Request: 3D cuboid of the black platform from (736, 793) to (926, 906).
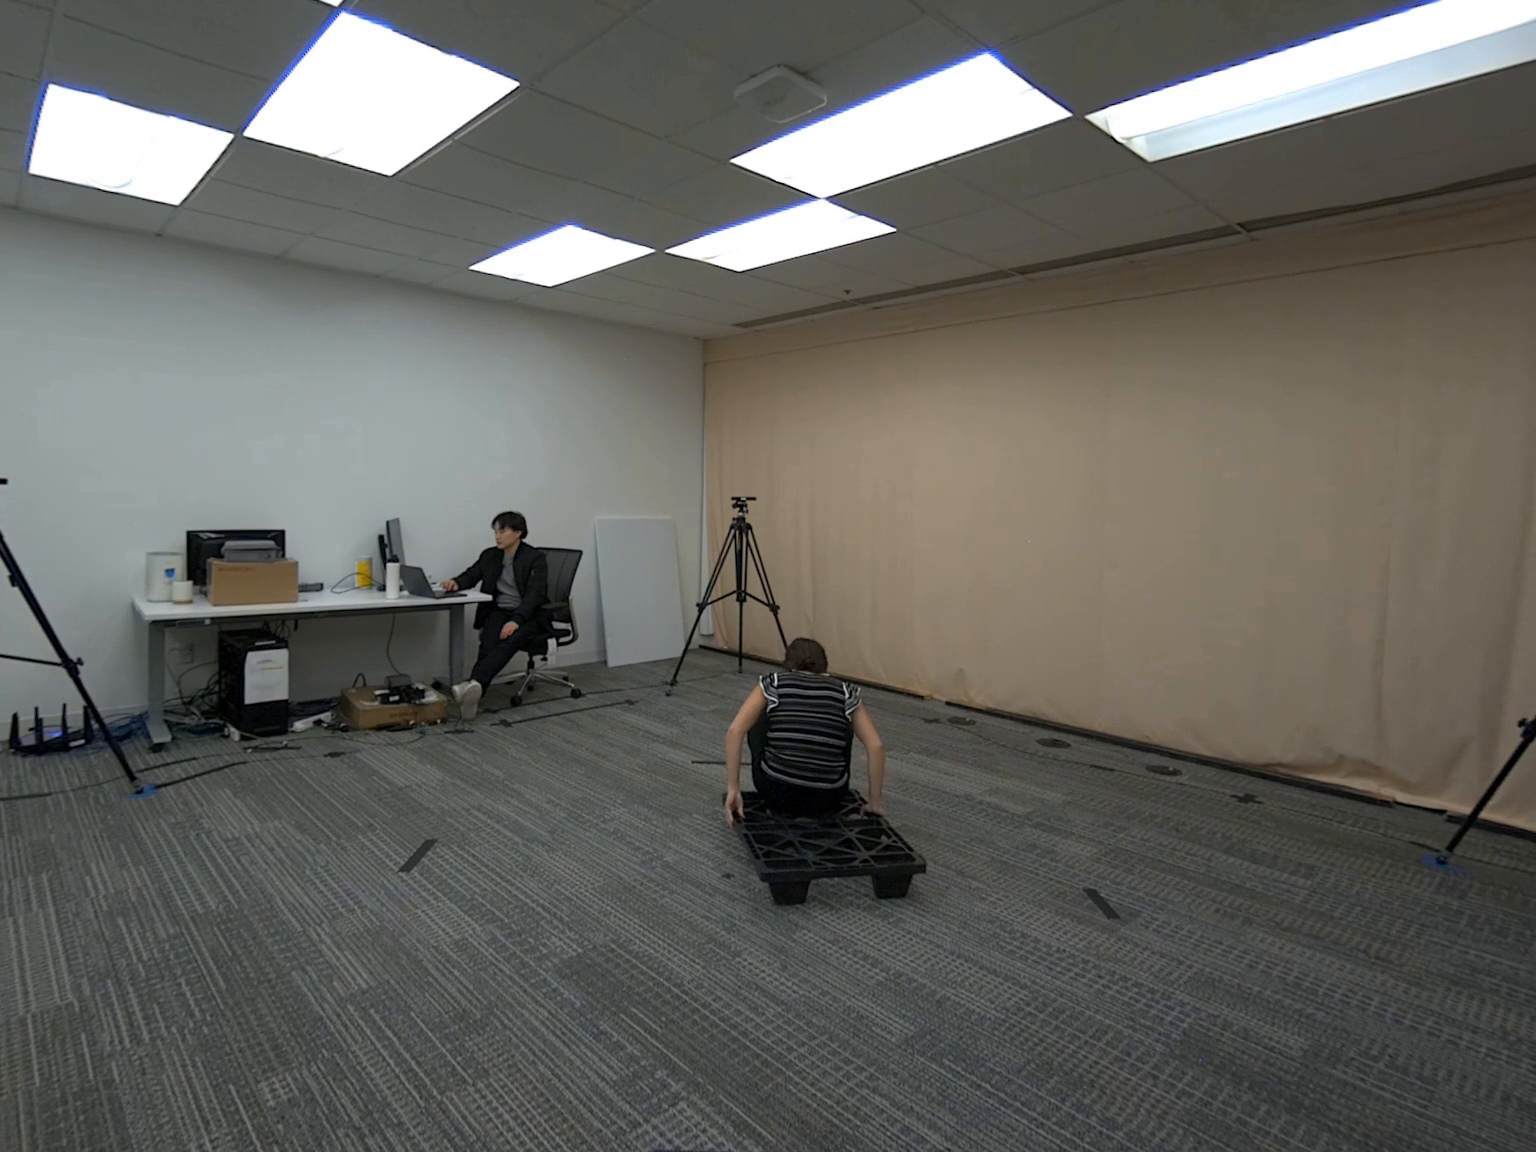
[{"bbox_3d":[0.168,1.033,3.276,0.599,0.143,0.815,1,4,-12],"label":"black platform"}]
